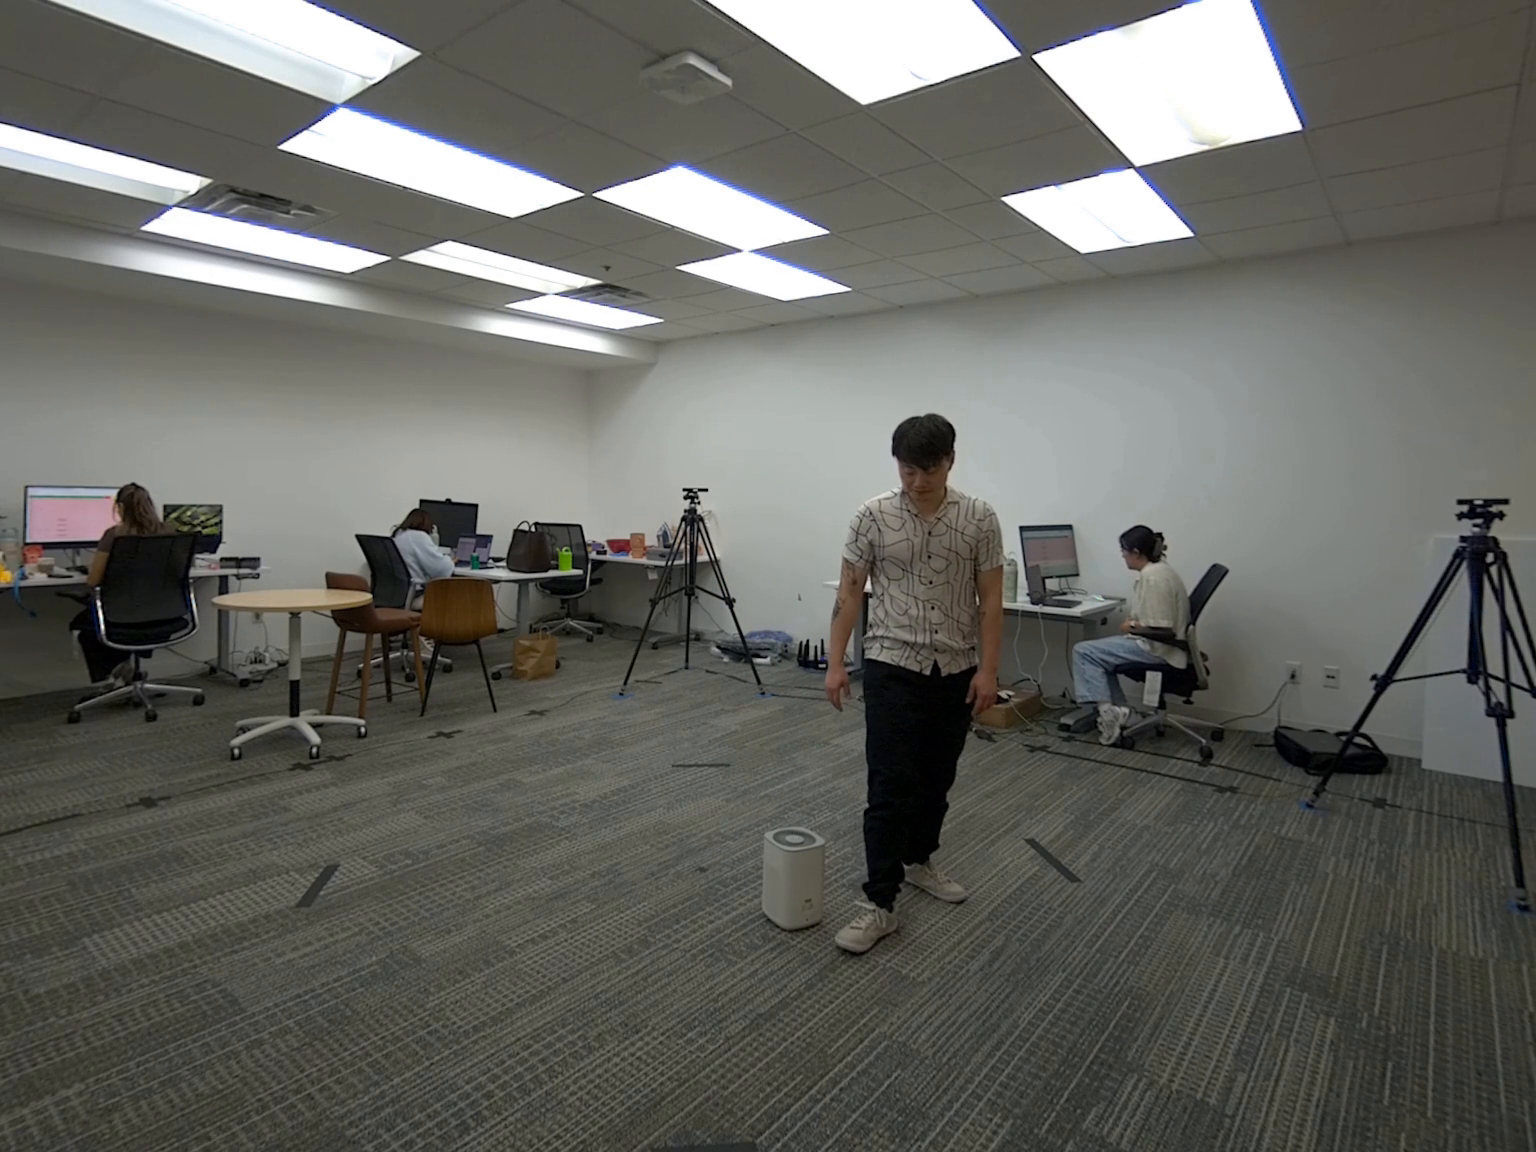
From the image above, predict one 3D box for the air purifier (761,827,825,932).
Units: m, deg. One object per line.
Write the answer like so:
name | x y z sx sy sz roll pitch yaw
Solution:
air purifier | 0.079 0.979 2.762 0.167 0.265 0.176 0 3 -30
